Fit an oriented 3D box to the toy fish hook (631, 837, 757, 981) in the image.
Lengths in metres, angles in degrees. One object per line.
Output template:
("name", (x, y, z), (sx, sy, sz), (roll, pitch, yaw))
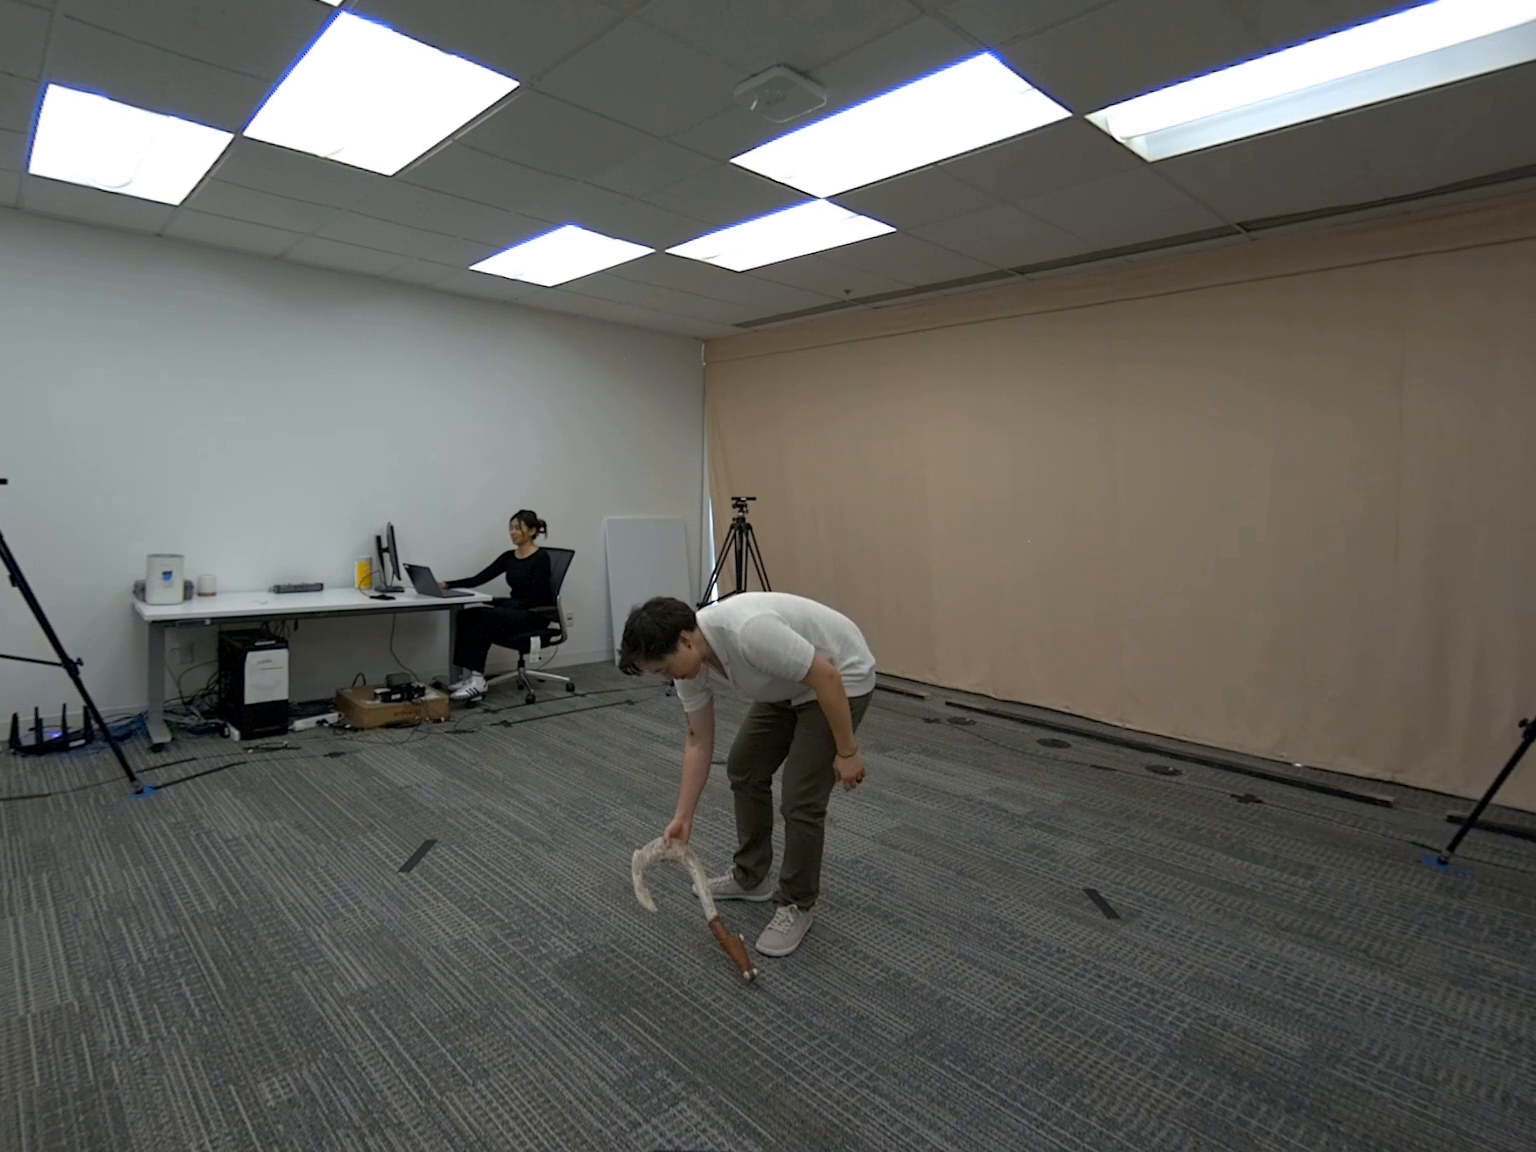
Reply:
("toy fish hook", (-0.244, 1.004, 2.499), (0.222, 0.047, 0.522), (-24, 53, -25))
